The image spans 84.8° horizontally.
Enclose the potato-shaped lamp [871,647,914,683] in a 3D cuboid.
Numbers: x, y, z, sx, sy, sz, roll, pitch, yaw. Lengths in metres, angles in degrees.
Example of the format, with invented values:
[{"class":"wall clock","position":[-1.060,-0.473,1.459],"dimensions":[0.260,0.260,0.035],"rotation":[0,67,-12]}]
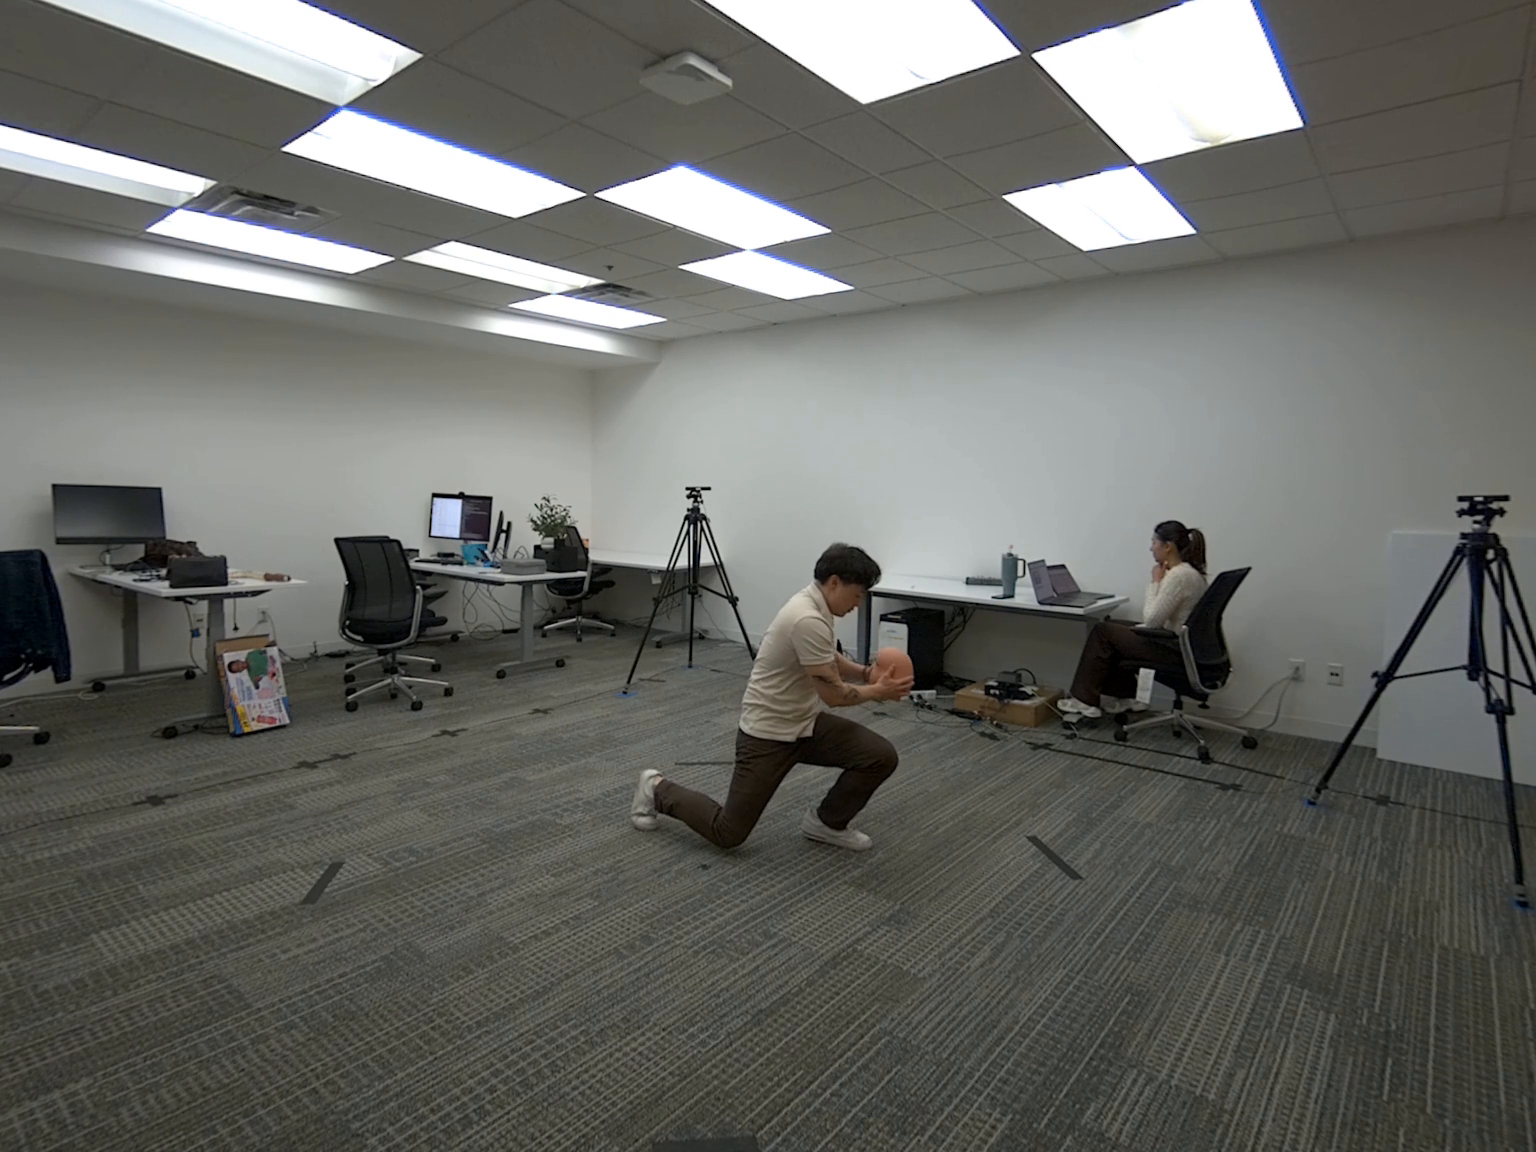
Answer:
[{"class":"potato-shaped lamp","position":[0.461,0.387,3.409],"dimensions":[0.171,0.195,0.168],"rotation":[-2,18,-4]}]
